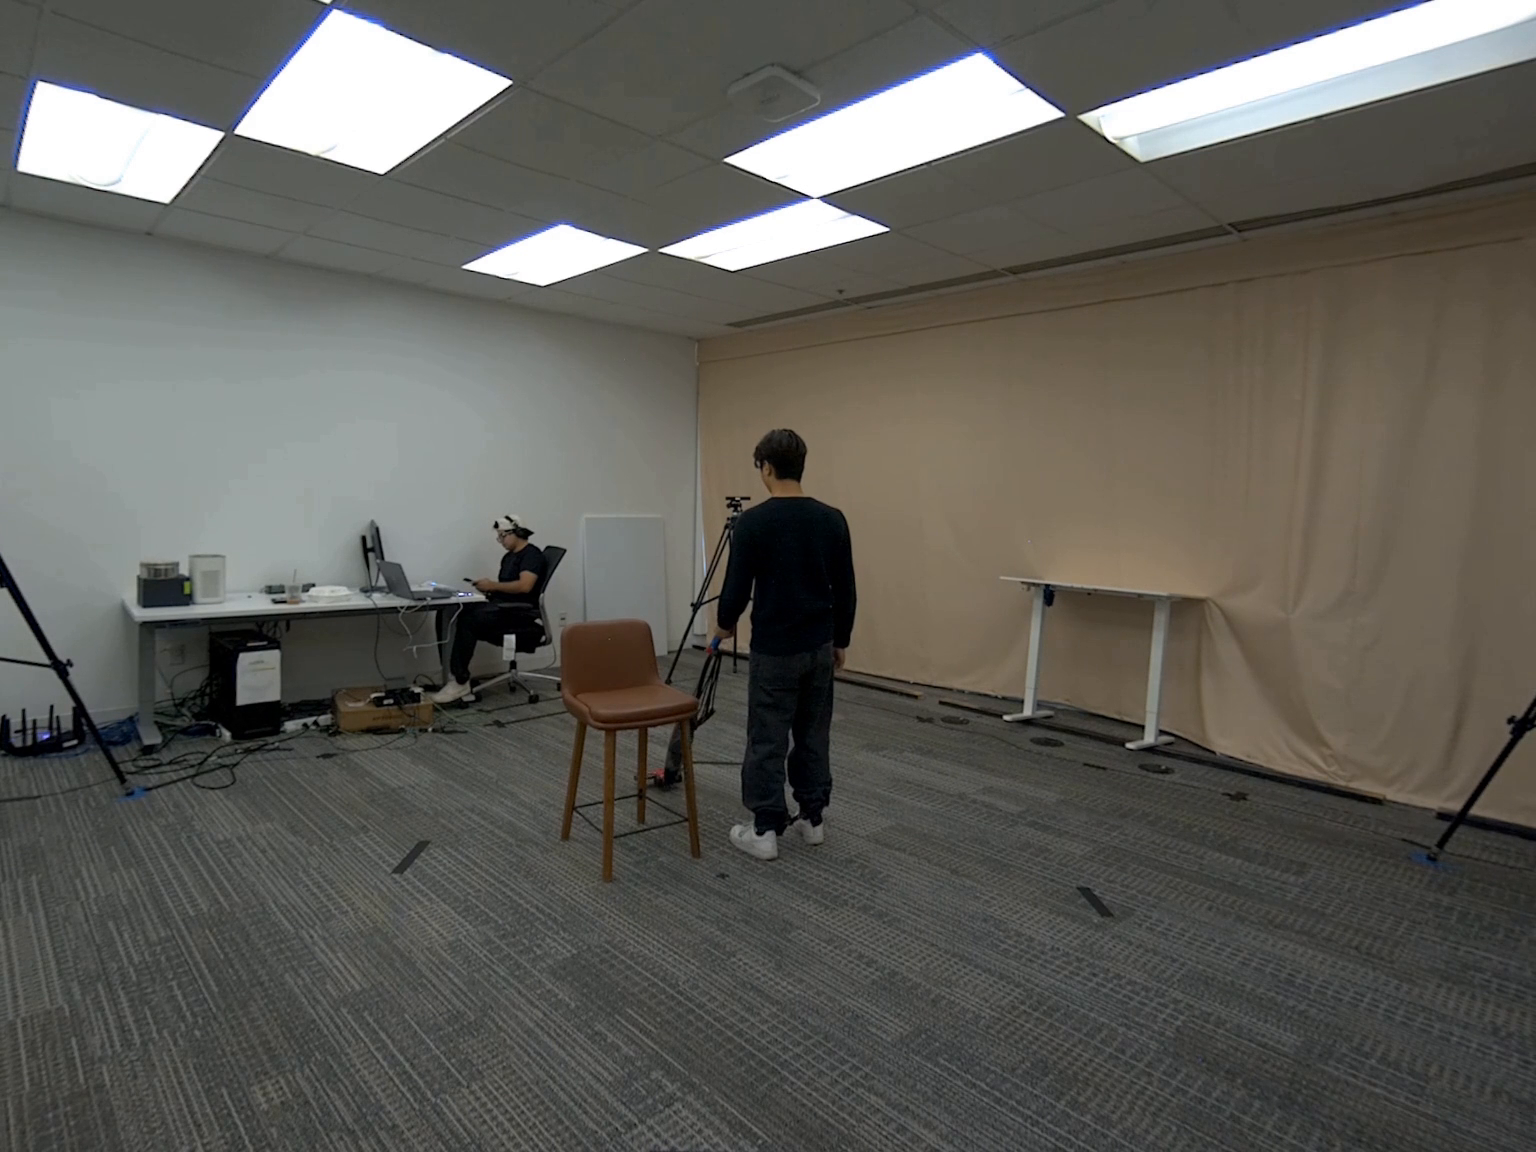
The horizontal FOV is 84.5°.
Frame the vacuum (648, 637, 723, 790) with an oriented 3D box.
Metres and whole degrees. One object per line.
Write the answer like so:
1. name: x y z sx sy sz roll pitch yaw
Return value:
1. vacuum: -0.340 0.599 3.779 0.247 1.038 0.148 -3 43 -34
